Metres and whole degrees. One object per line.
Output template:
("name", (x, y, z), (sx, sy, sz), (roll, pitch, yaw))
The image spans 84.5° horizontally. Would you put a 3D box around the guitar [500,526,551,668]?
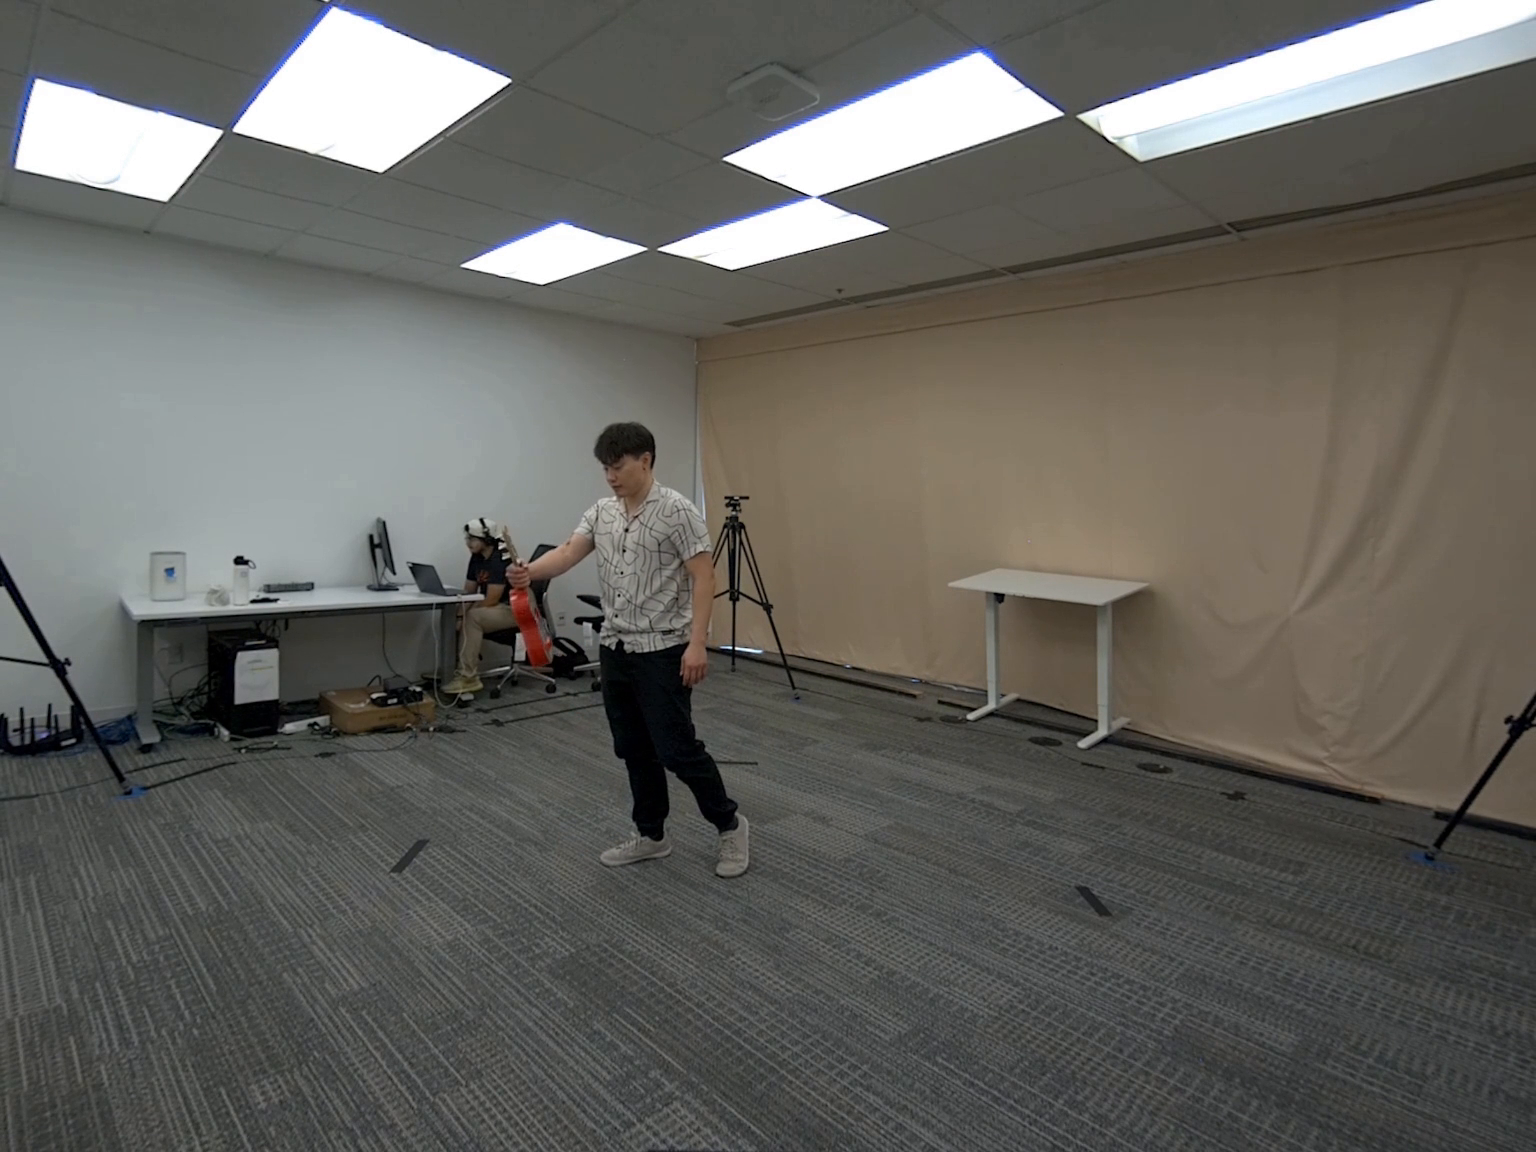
("guitar", (-0.835, 0.066, 2.864), (0.070, 0.492, 0.195), (-14, 13, -4))
